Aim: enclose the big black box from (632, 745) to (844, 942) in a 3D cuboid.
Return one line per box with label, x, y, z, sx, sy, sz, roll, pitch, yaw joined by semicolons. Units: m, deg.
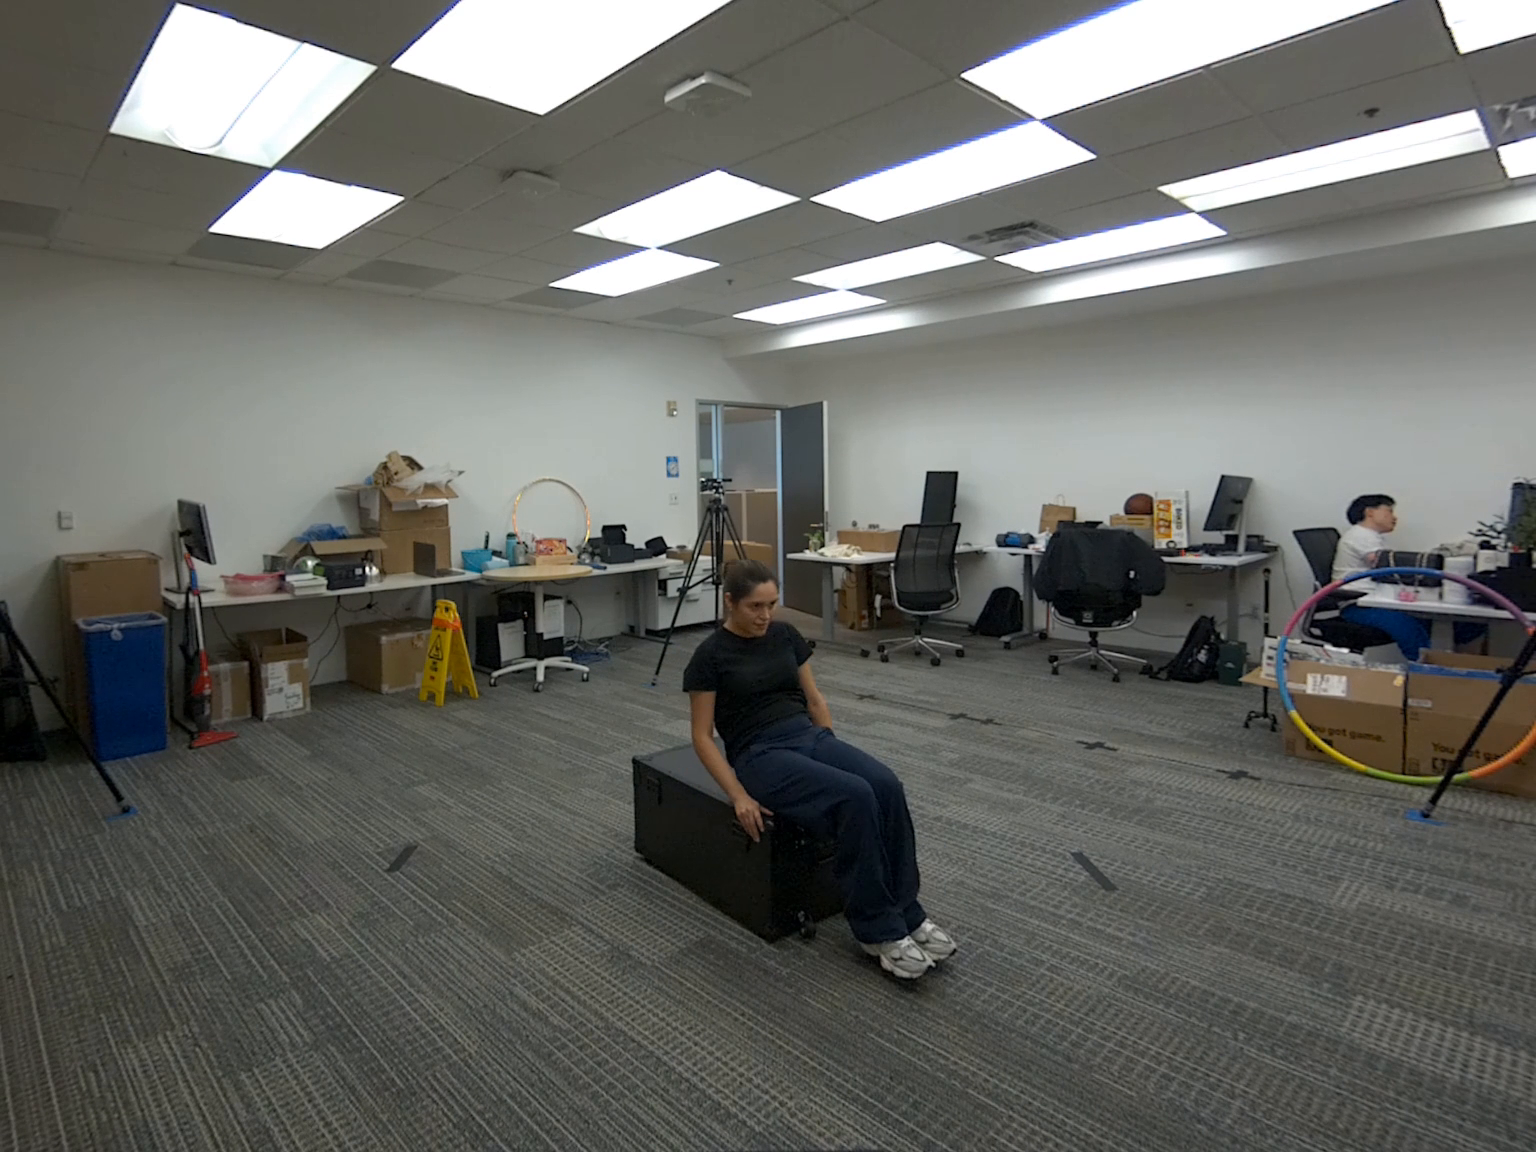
big black box;-0.081;0.865;3.035;0.508;0.394;0.889;-5;8;-39
